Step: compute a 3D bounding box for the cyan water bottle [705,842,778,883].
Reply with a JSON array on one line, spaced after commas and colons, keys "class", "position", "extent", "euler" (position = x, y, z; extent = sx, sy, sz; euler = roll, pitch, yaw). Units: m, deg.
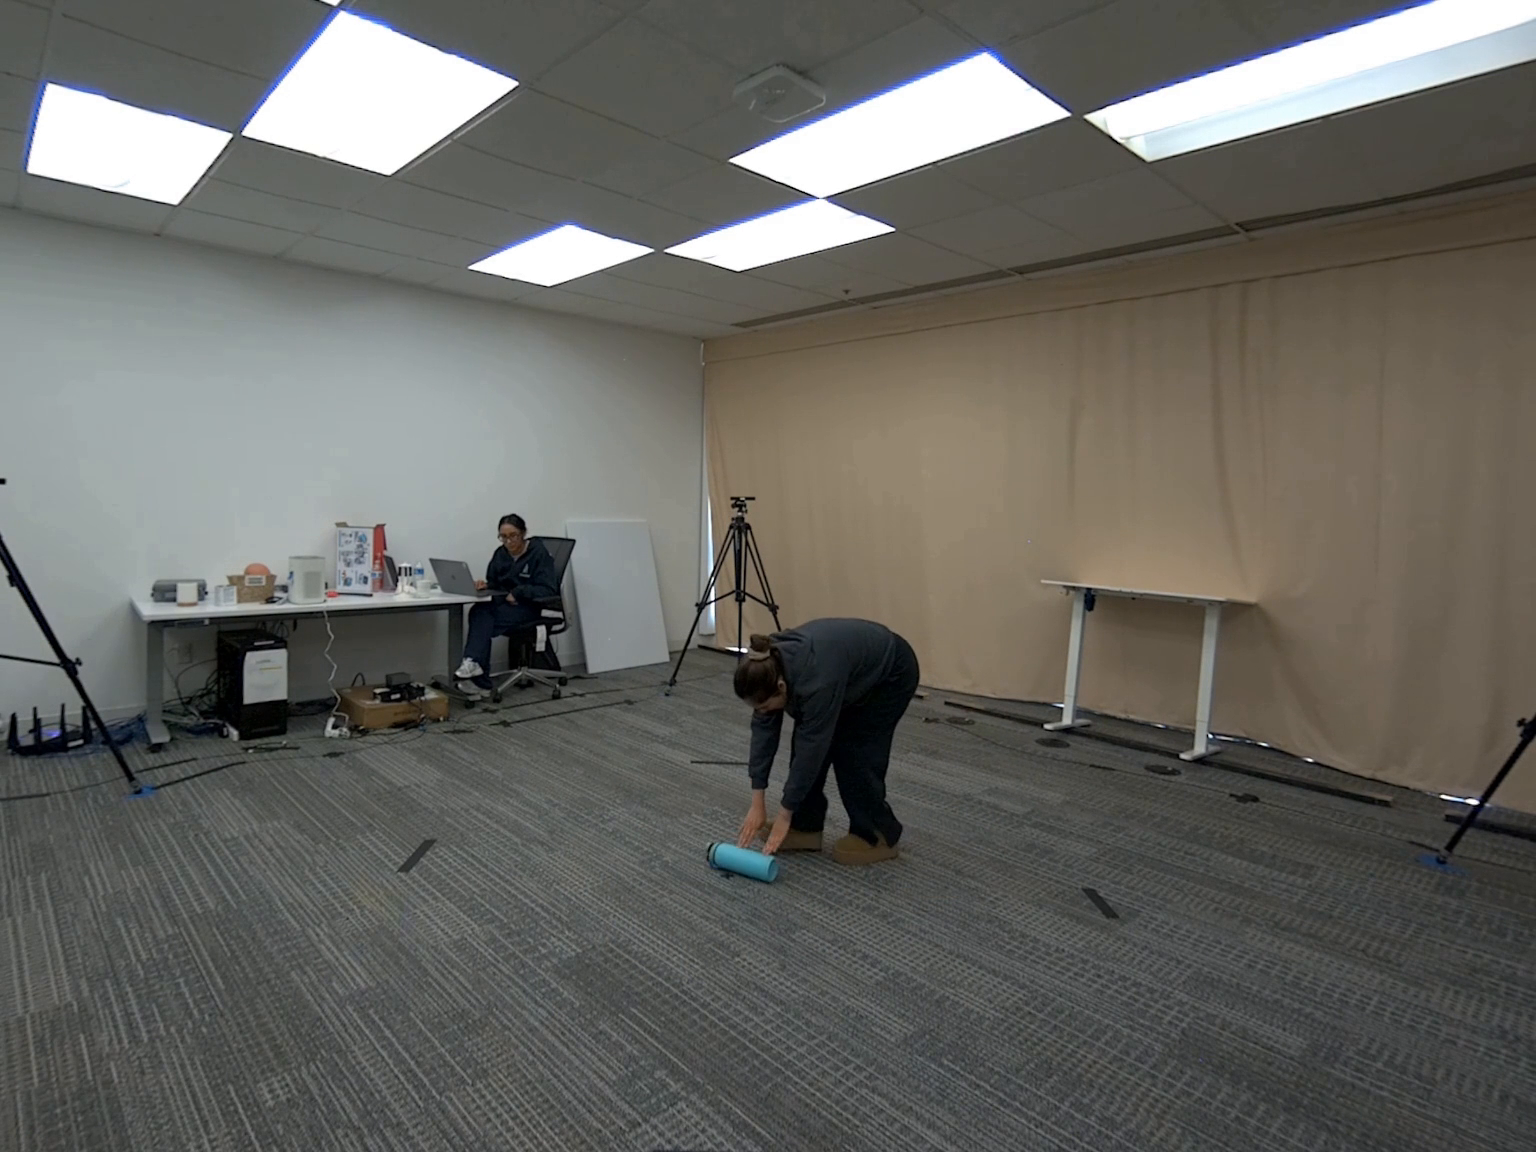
[{"class": "cyan water bottle", "position": [-0.109, 1.055, 3.139], "extent": [0.289, 0.092, 0.090], "euler": [5, 6, 29]}]
